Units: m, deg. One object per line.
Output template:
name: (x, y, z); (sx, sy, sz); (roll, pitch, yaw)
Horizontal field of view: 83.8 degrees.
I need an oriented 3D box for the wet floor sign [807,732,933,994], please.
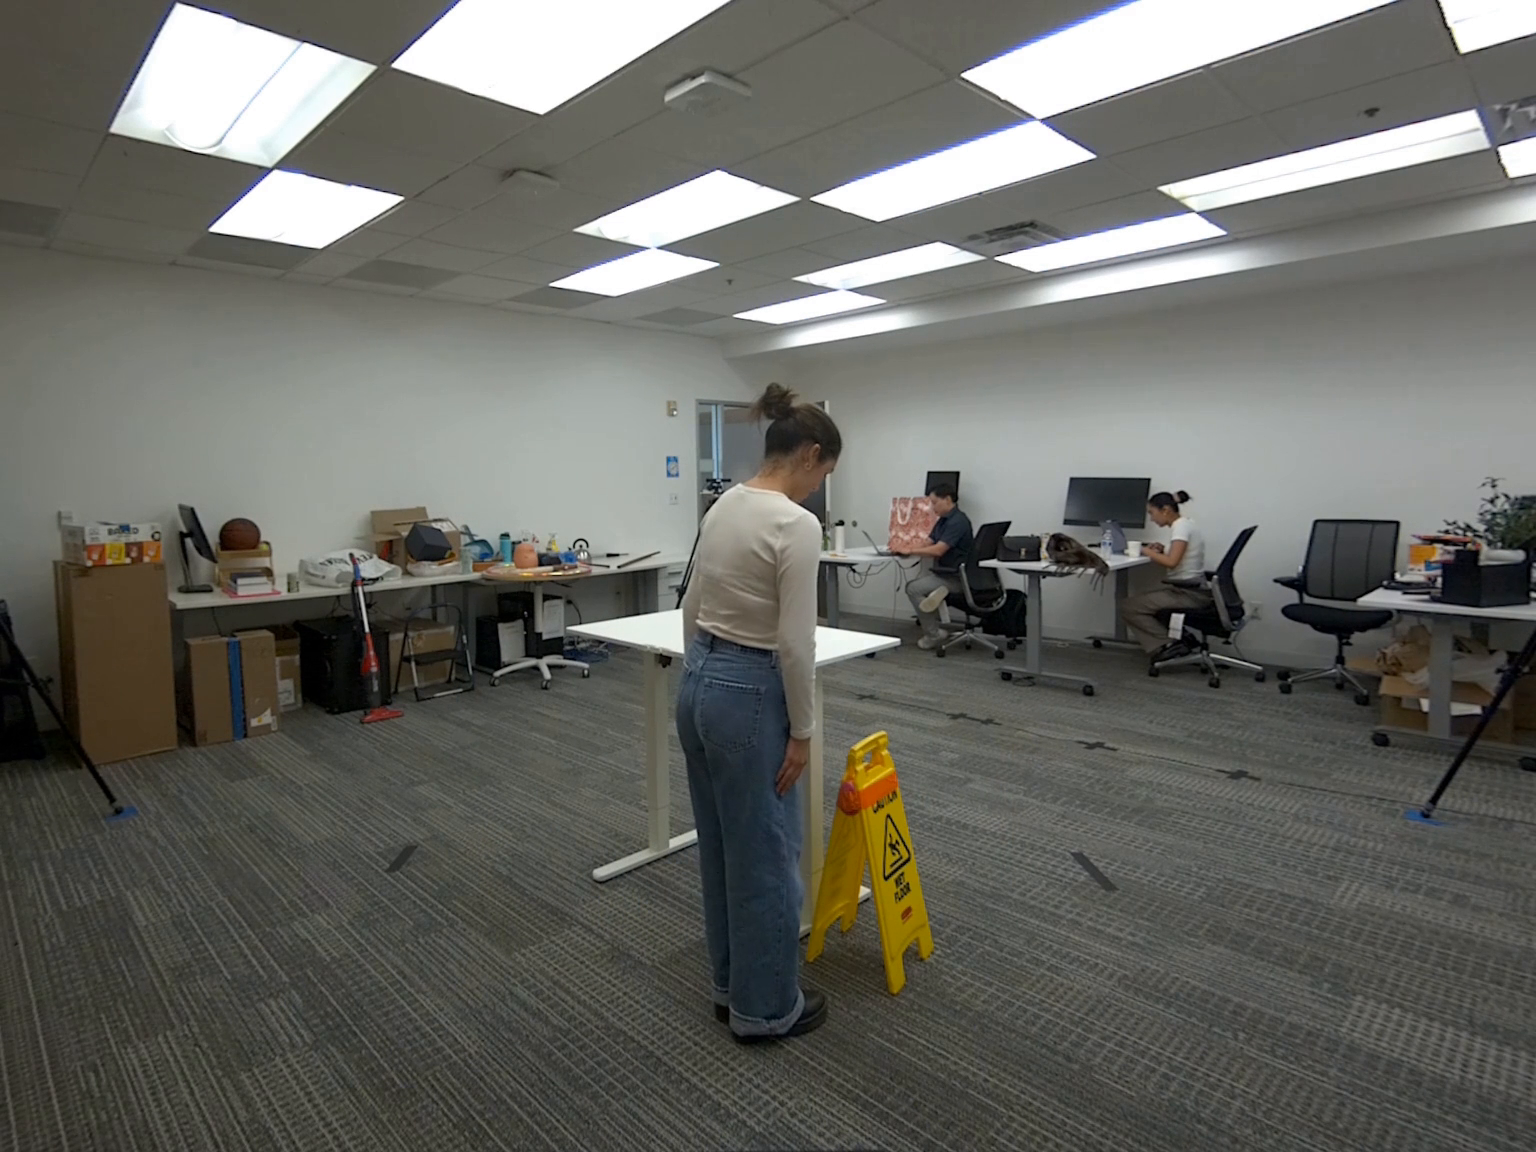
wet floor sign: (0.301, 0.790, 2.468); (0.298, 0.643, 0.275); (3, 6, 36)
